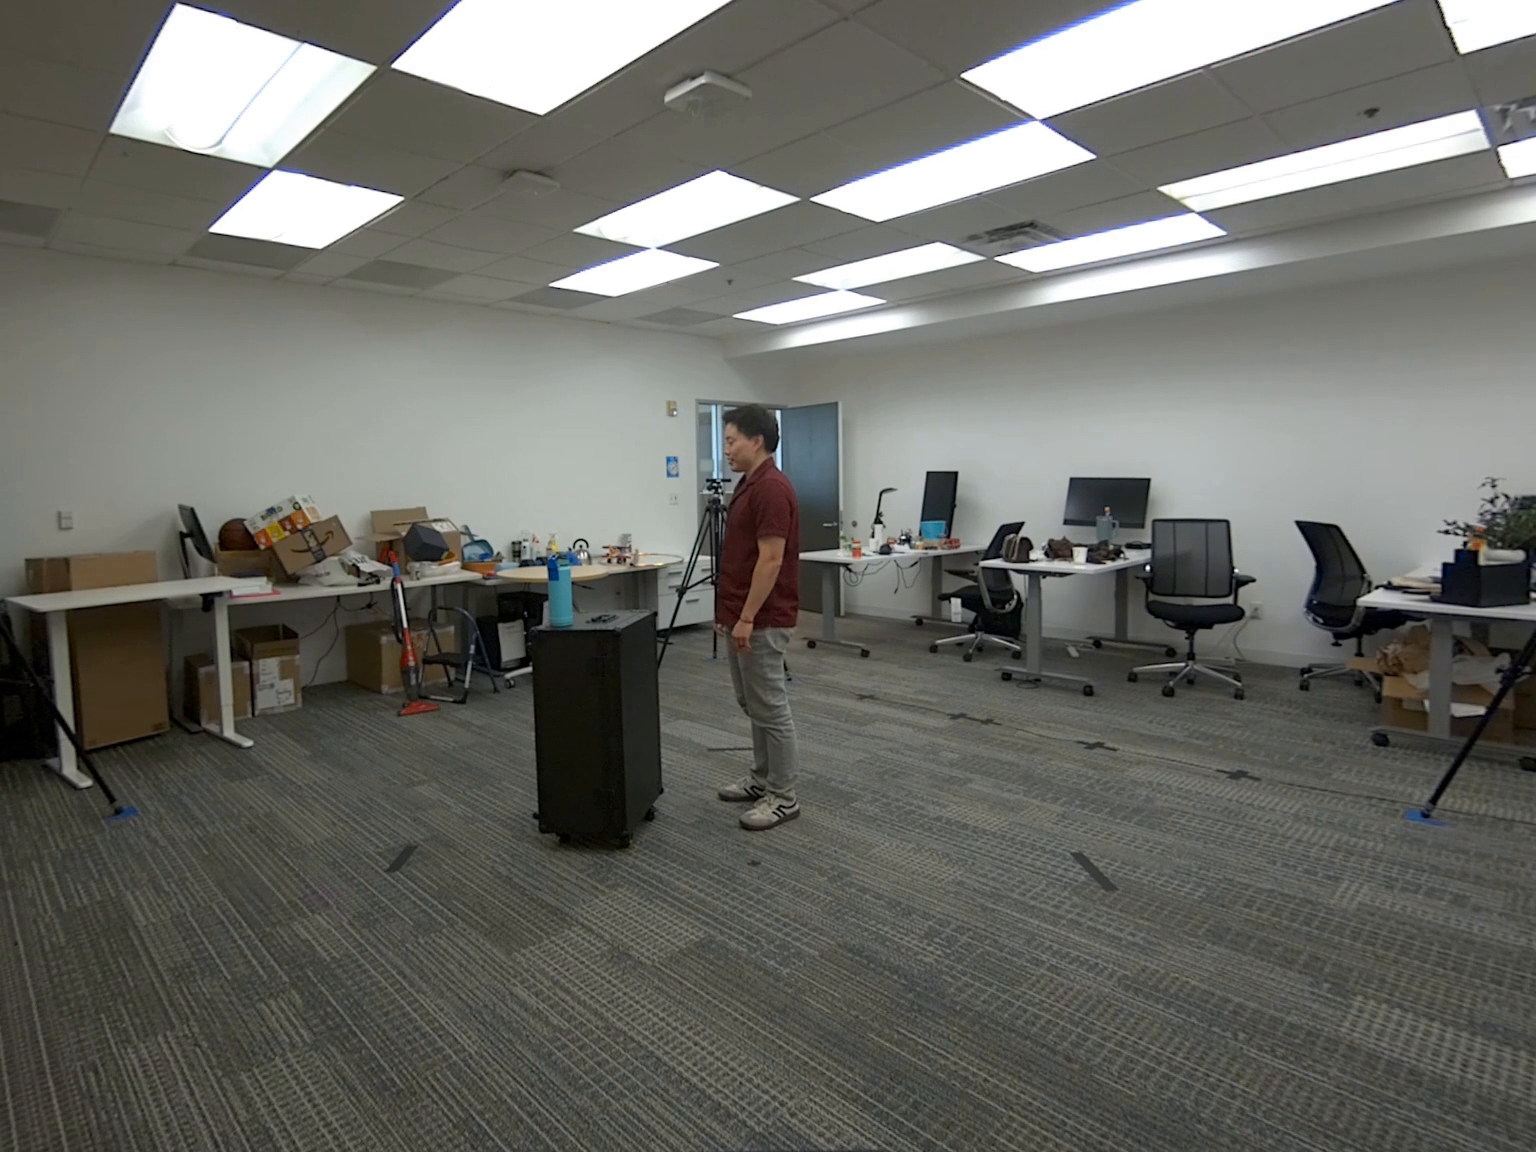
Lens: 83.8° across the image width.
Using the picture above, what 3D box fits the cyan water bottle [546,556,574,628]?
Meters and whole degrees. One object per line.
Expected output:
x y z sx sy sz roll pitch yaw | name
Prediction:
-0.796 0.047 3.305 0.092 0.282 0.092 -3 3 -1 | cyan water bottle
